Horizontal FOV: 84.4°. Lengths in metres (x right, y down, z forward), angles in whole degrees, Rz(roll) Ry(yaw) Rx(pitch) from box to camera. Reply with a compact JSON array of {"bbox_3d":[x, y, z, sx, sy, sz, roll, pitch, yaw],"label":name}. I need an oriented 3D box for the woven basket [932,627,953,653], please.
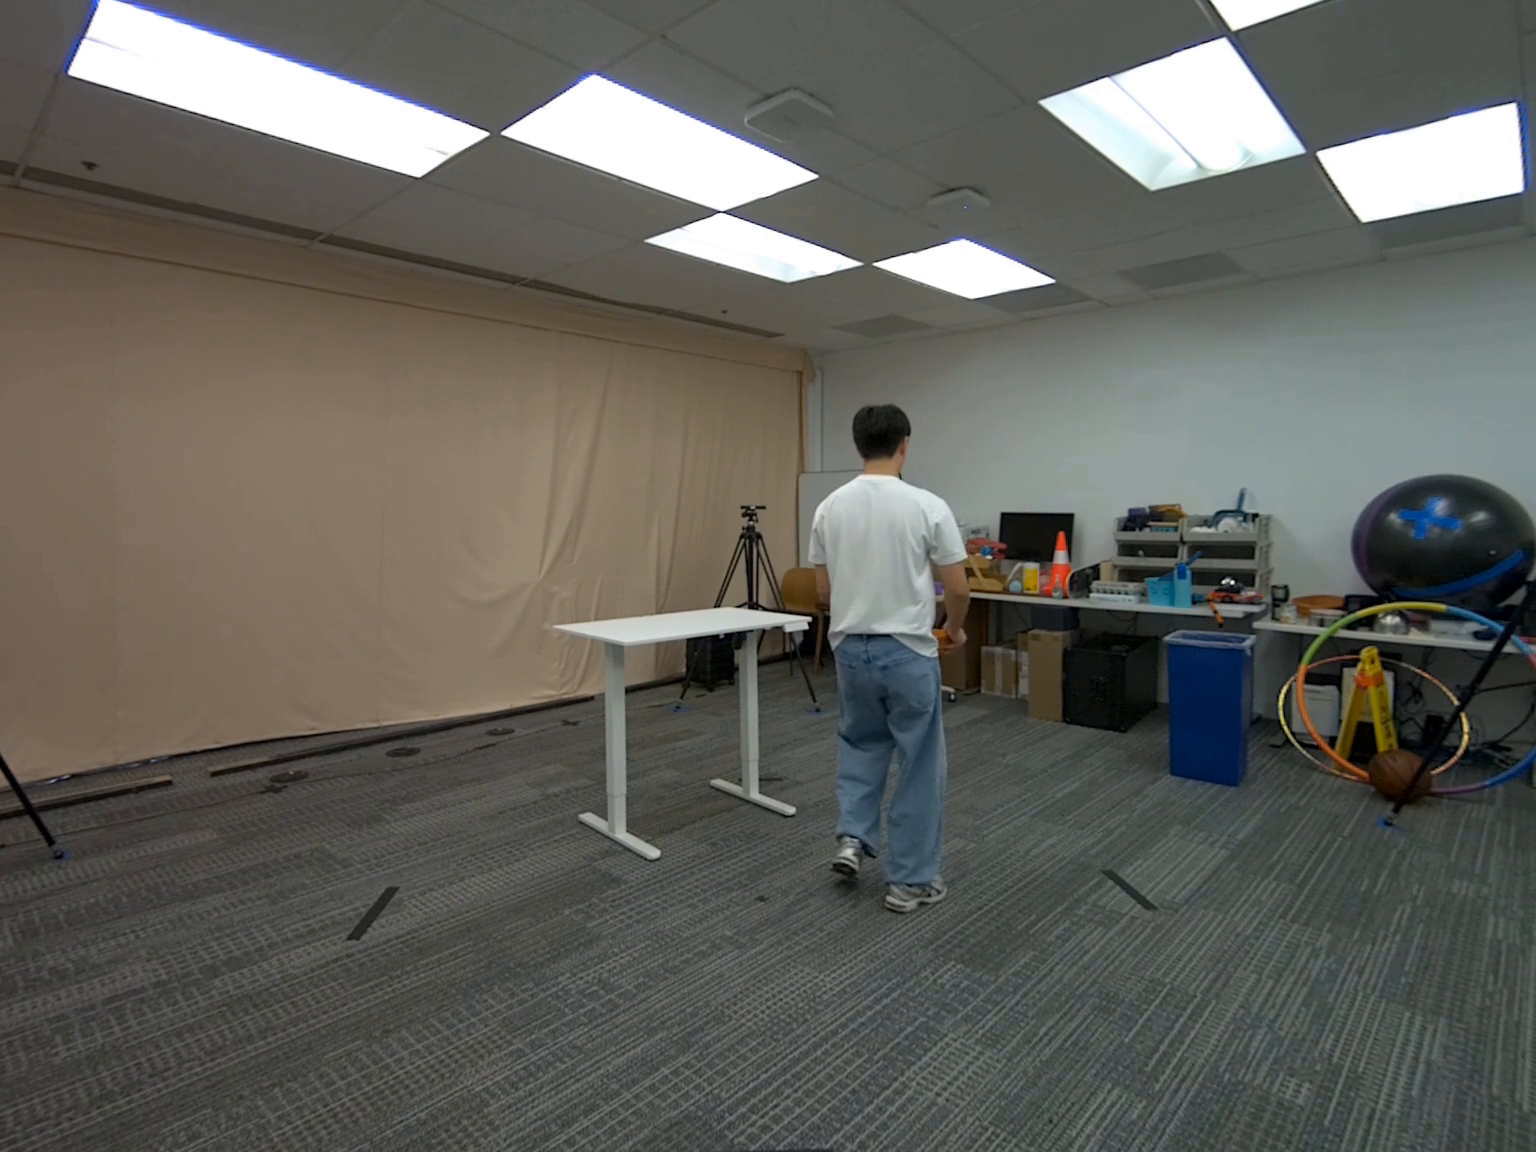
[{"bbox_3d":[0.554,0.254,3.195,0.361,0.073,0.245,-1,2,36],"label":"woven basket"}]
